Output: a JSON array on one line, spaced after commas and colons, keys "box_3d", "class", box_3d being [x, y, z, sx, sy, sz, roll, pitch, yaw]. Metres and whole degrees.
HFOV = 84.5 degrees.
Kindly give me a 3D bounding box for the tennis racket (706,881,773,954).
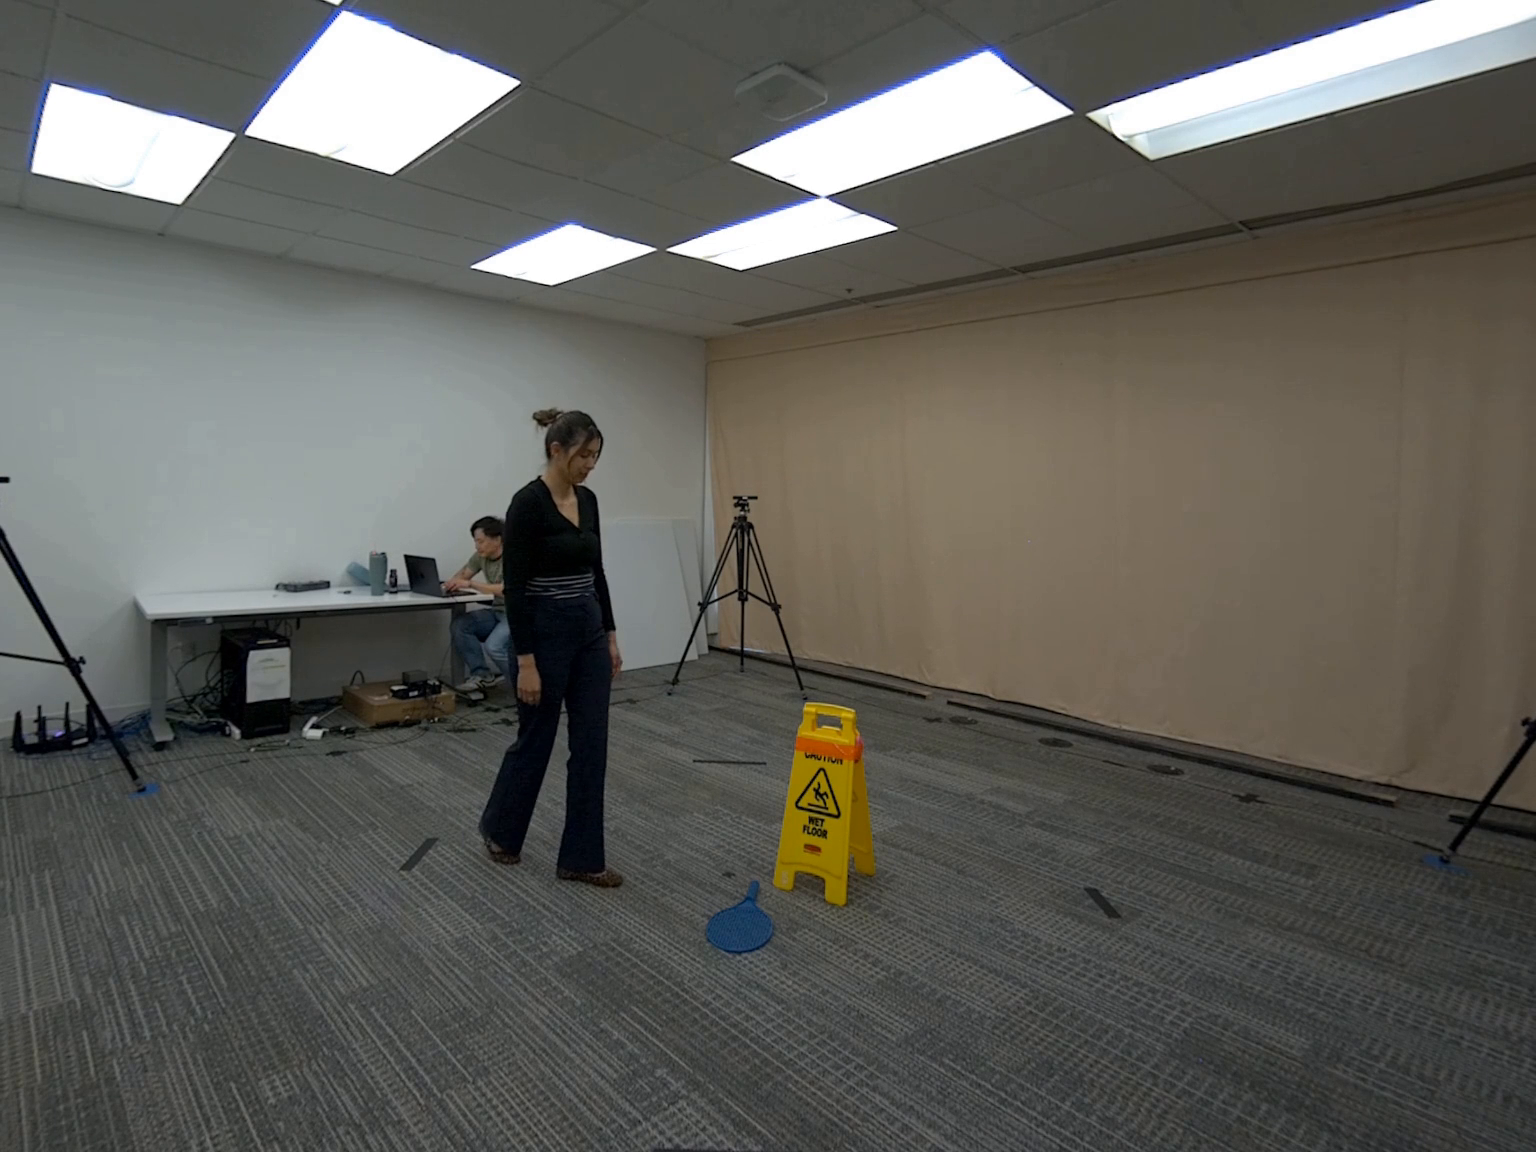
[{"box_3d": [-0.086, 1.118, 2.778, 0.215, 0.031, 0.431, 1, 7, 7], "class": "tennis racket"}]
